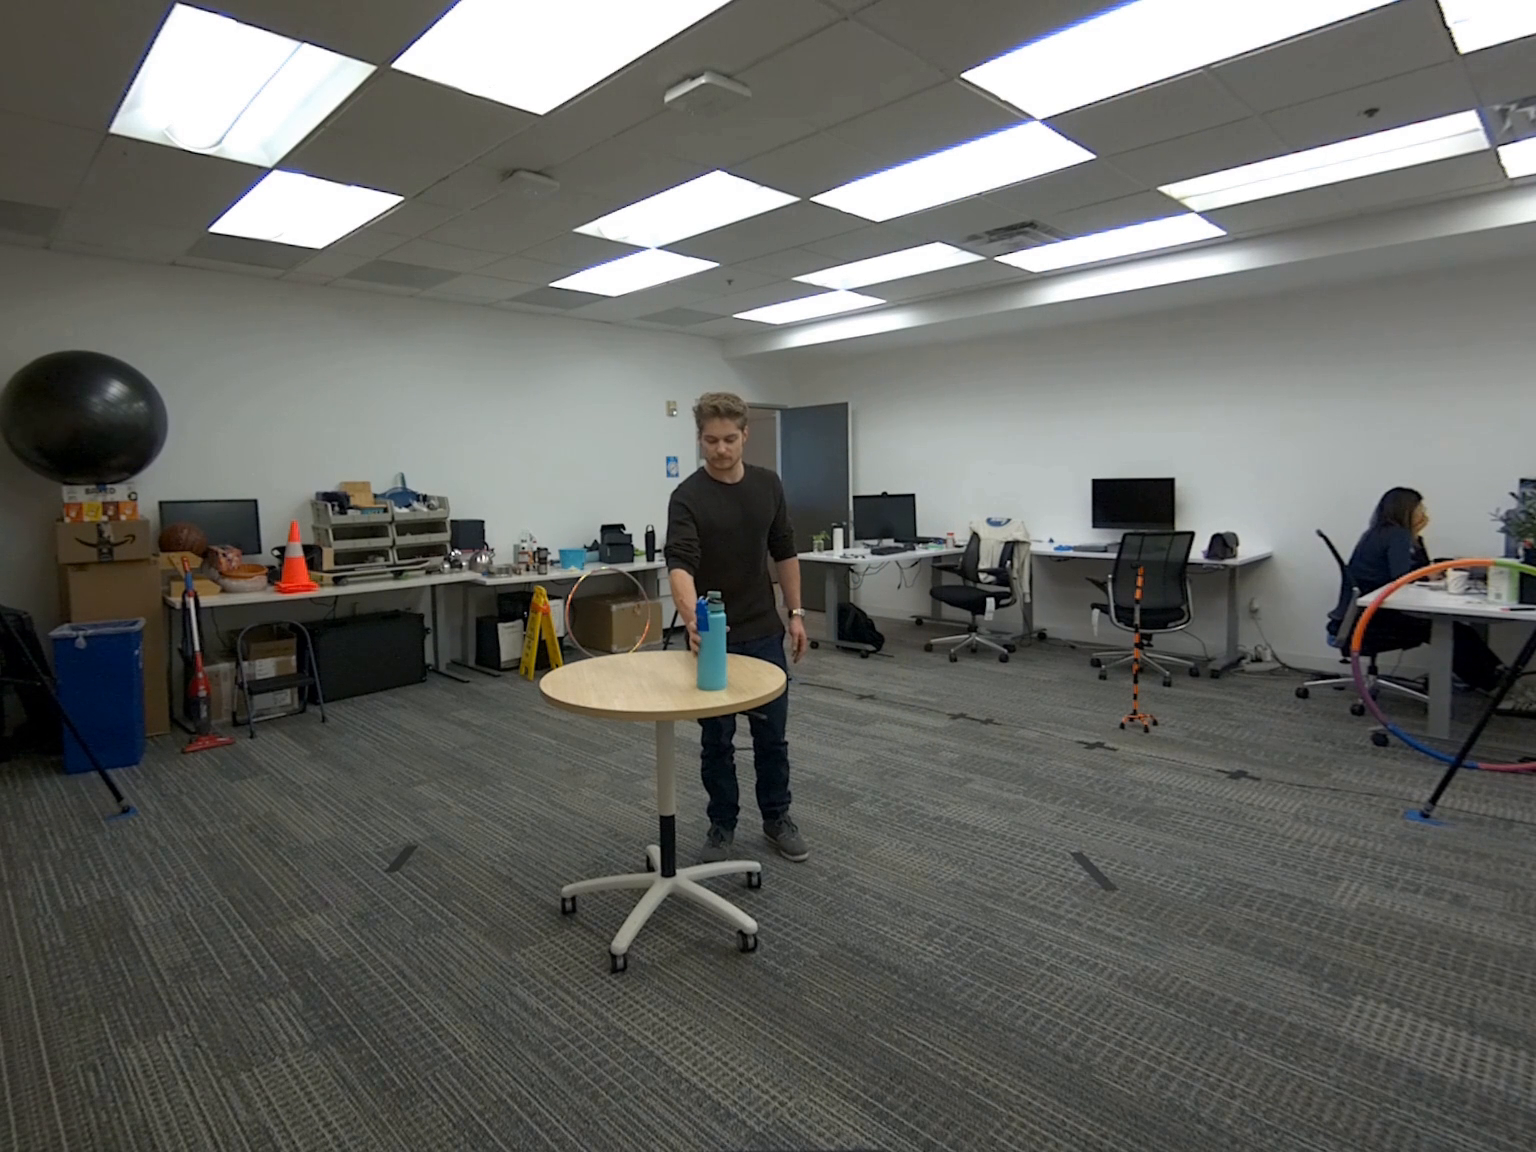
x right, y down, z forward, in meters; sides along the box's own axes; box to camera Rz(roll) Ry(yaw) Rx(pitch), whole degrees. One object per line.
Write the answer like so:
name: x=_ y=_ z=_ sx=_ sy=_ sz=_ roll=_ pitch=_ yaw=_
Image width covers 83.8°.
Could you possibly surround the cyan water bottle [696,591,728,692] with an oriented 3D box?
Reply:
cyan water bottle: x=-0.170 y=0.194 z=2.538 sx=0.092 sy=0.282 sz=0.093 roll=-3 pitch=5 yaw=-1
